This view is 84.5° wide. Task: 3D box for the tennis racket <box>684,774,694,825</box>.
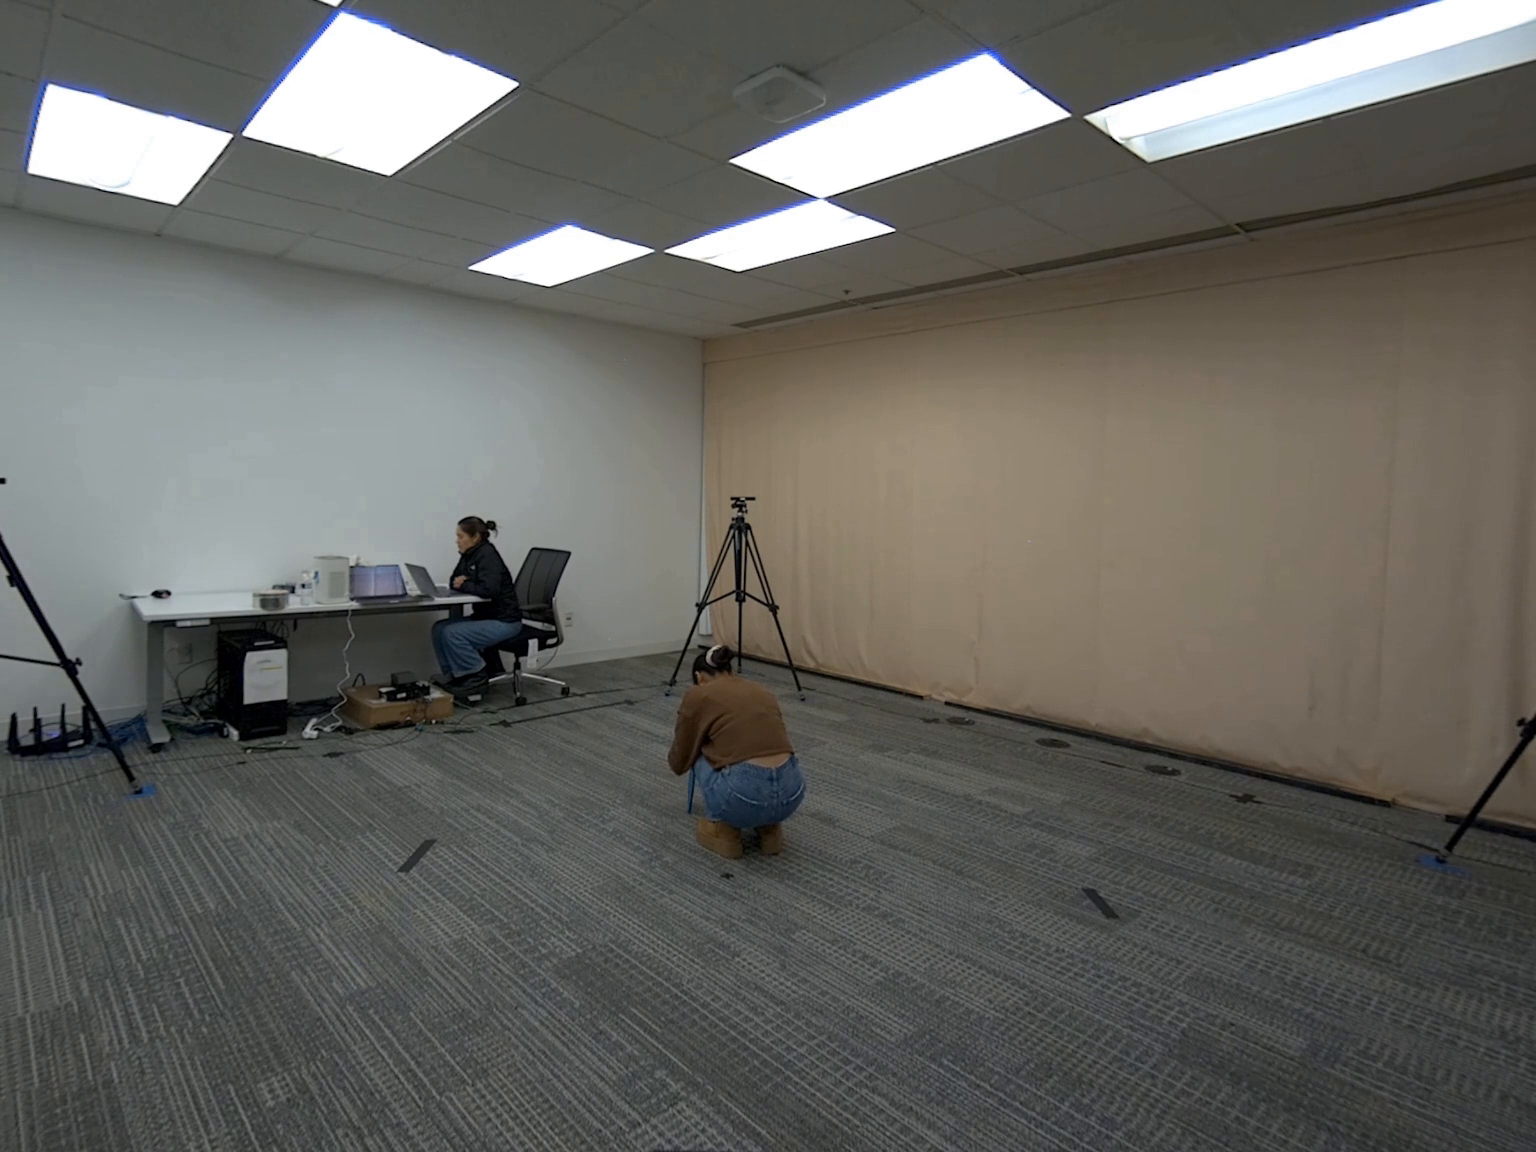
[{"bbox_3d":[-0.339,0.839,3.729,0.031,0.429,0.216,4,12,-6],"label":"tennis racket"}]
